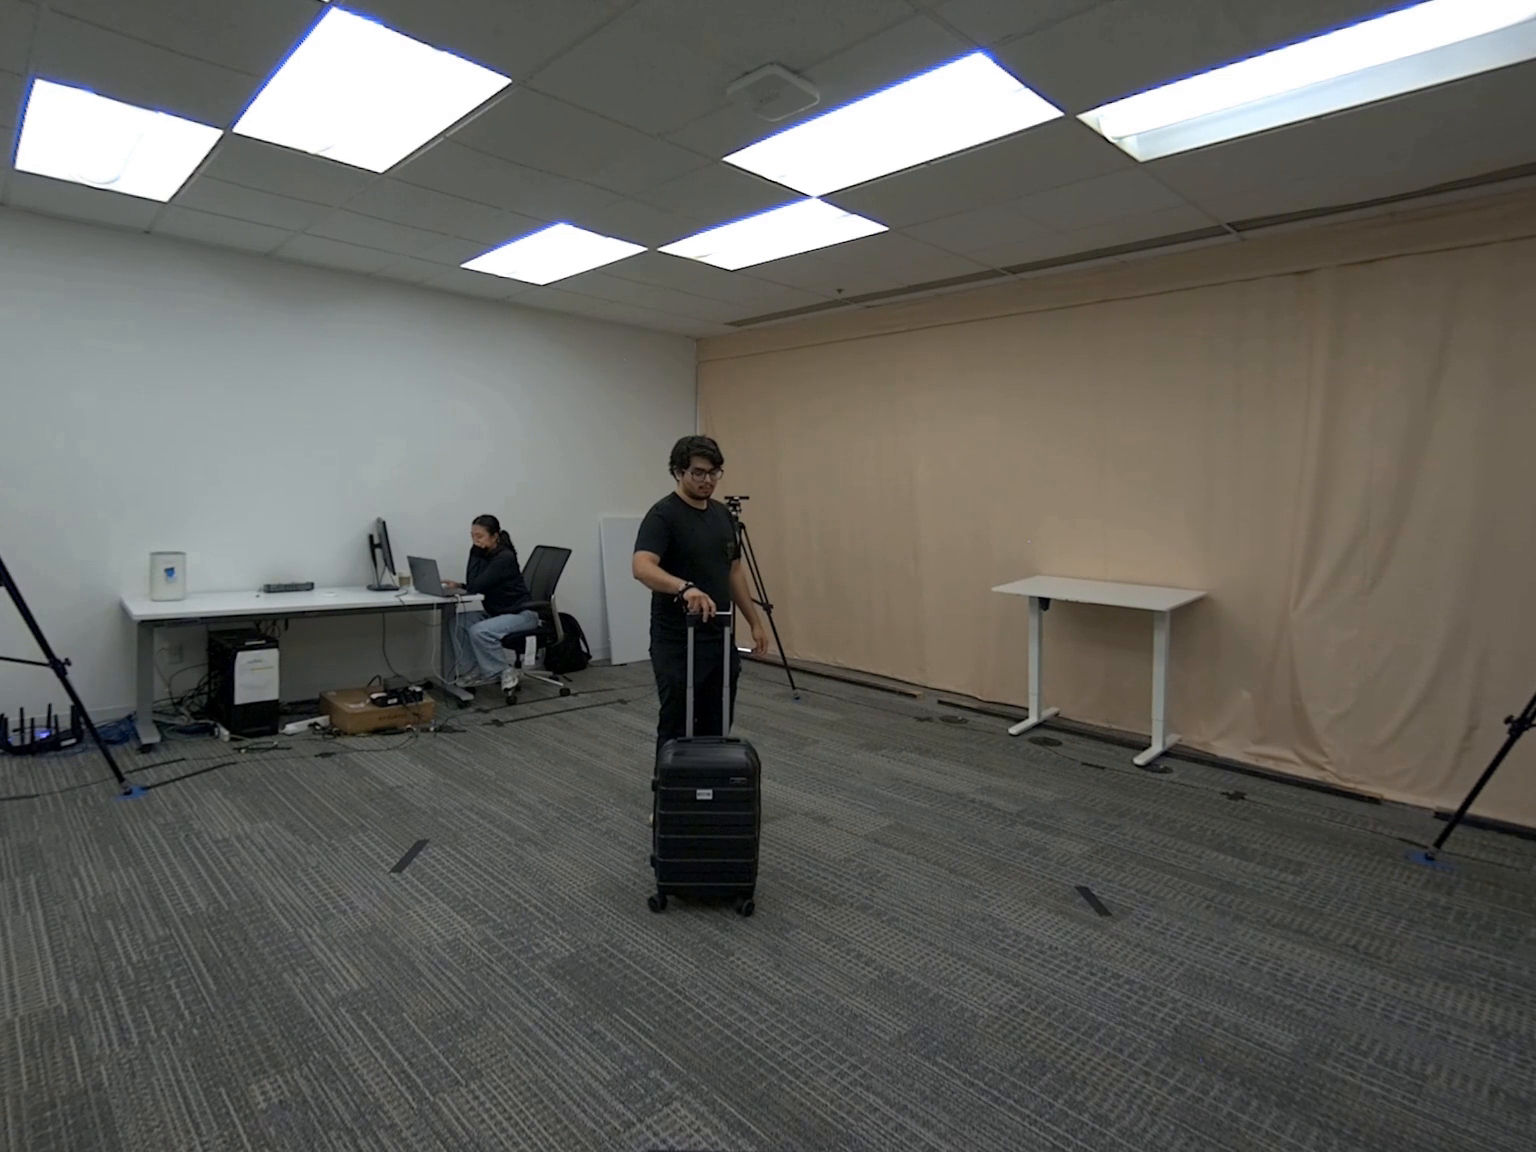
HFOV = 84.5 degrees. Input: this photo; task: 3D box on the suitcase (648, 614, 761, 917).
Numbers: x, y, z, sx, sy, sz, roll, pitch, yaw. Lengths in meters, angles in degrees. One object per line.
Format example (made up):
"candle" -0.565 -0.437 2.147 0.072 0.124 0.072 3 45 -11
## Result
"suitcase" -0.214 0.644 2.897 0.383 0.974 0.258 2 6 -2
